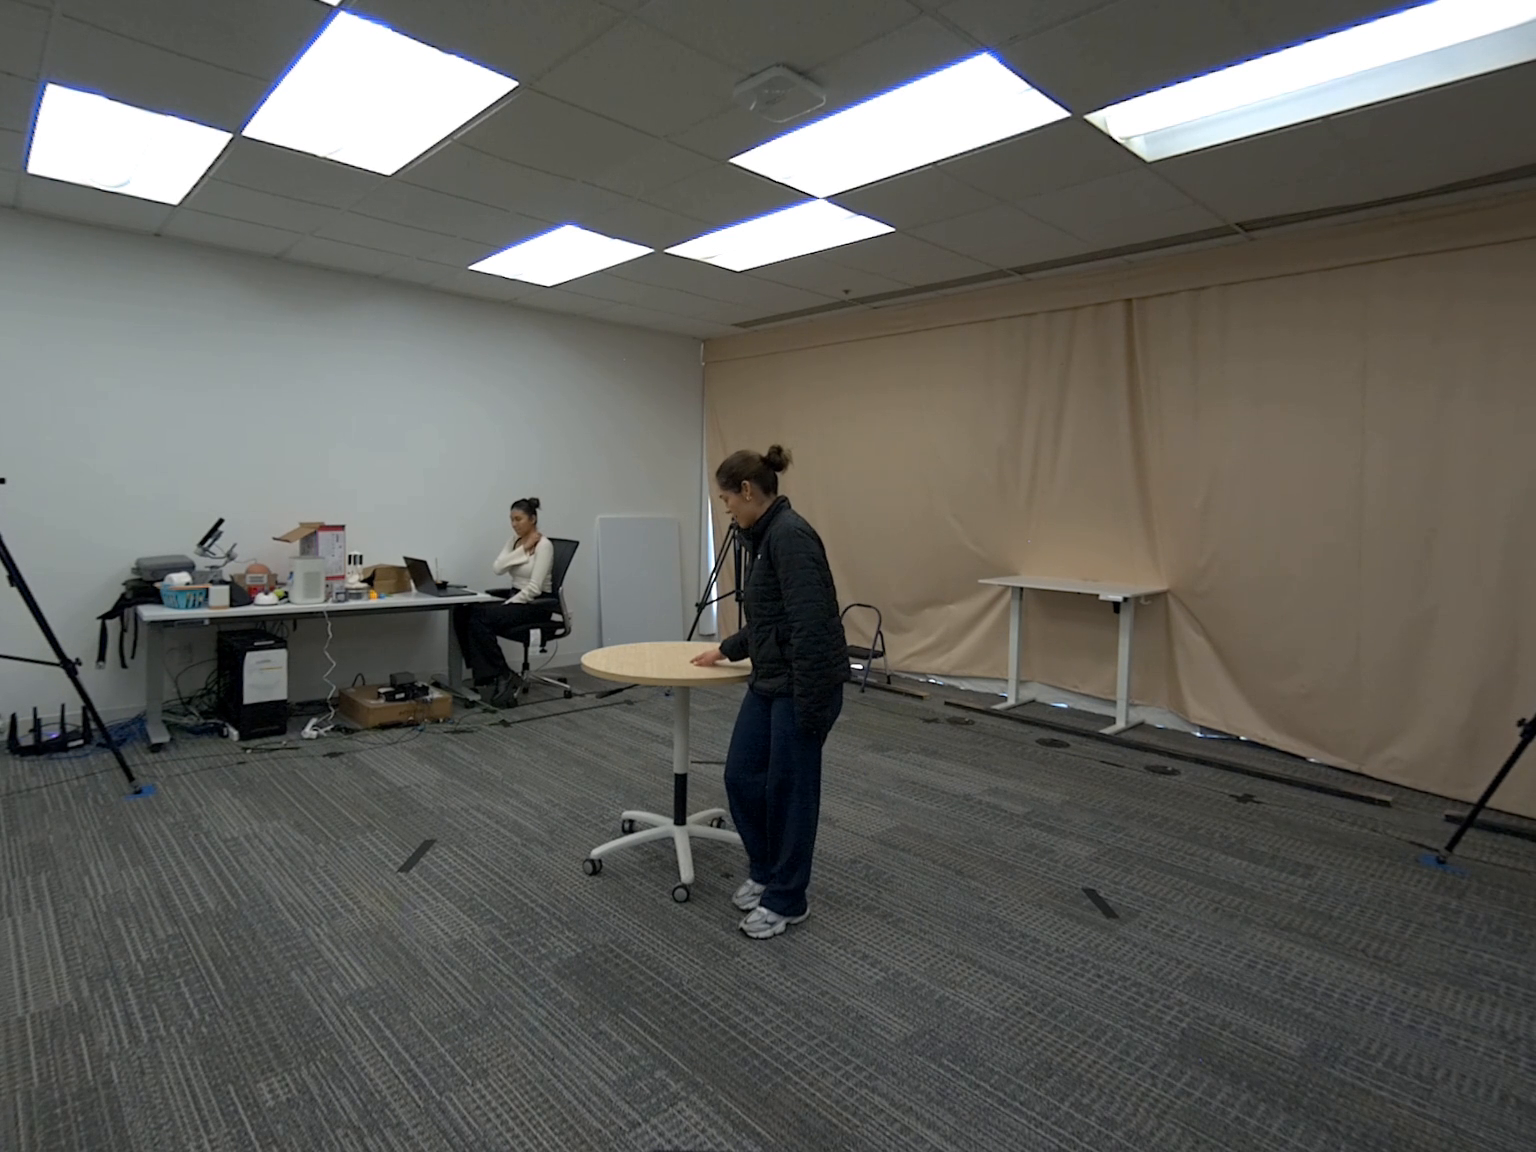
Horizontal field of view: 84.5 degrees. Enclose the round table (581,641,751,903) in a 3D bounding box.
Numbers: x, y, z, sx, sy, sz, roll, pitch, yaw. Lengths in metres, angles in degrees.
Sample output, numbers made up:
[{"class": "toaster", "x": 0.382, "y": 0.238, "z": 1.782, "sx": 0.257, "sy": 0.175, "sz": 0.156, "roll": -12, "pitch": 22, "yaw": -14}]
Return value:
[{"class": "round table", "x": -0.328, "y": 0.701, "z": 3.213, "sx": 0.784, "sy": 0.784, "sz": 0.787, "roll": 1, "pitch": 4, "yaw": -1}]
